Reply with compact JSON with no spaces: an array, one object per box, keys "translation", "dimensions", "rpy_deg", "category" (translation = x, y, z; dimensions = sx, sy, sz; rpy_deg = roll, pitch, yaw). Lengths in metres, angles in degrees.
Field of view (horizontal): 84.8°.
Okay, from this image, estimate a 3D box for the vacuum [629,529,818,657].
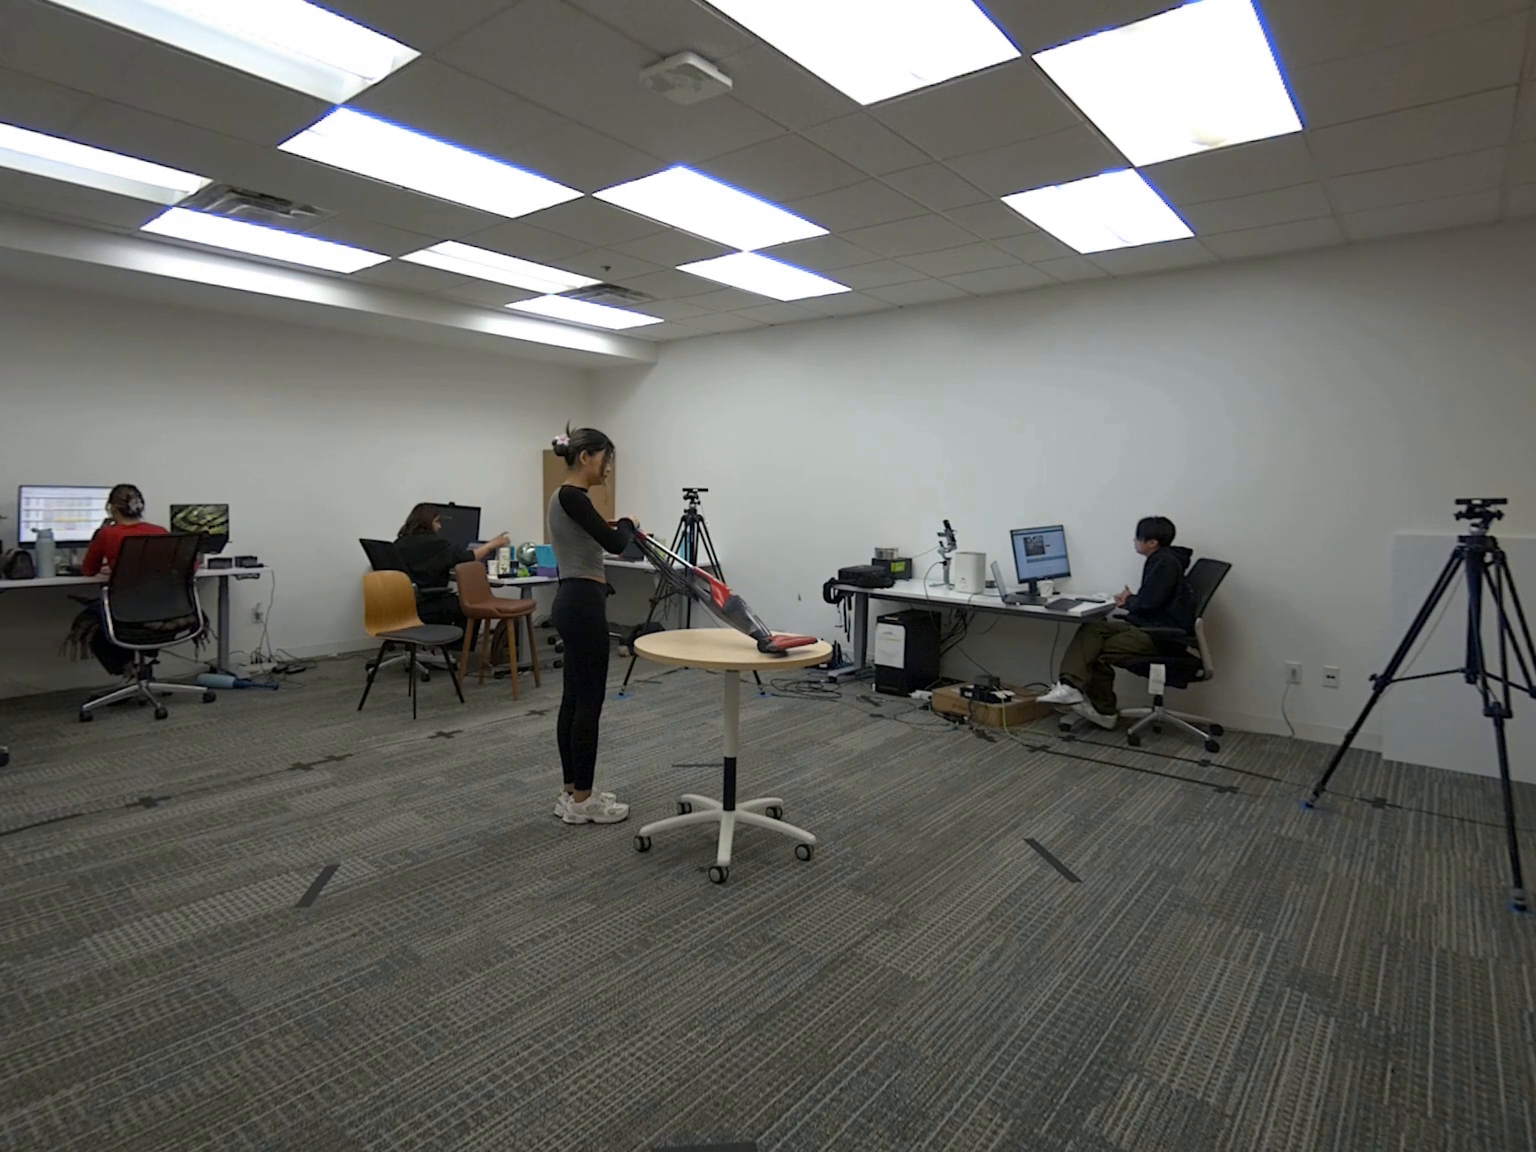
[{"translation":[-0.316,0.016,3.440],"dimensions":[1.092,0.143,0.245],"rpy_deg":[33,21,34],"category":"vacuum"}]
